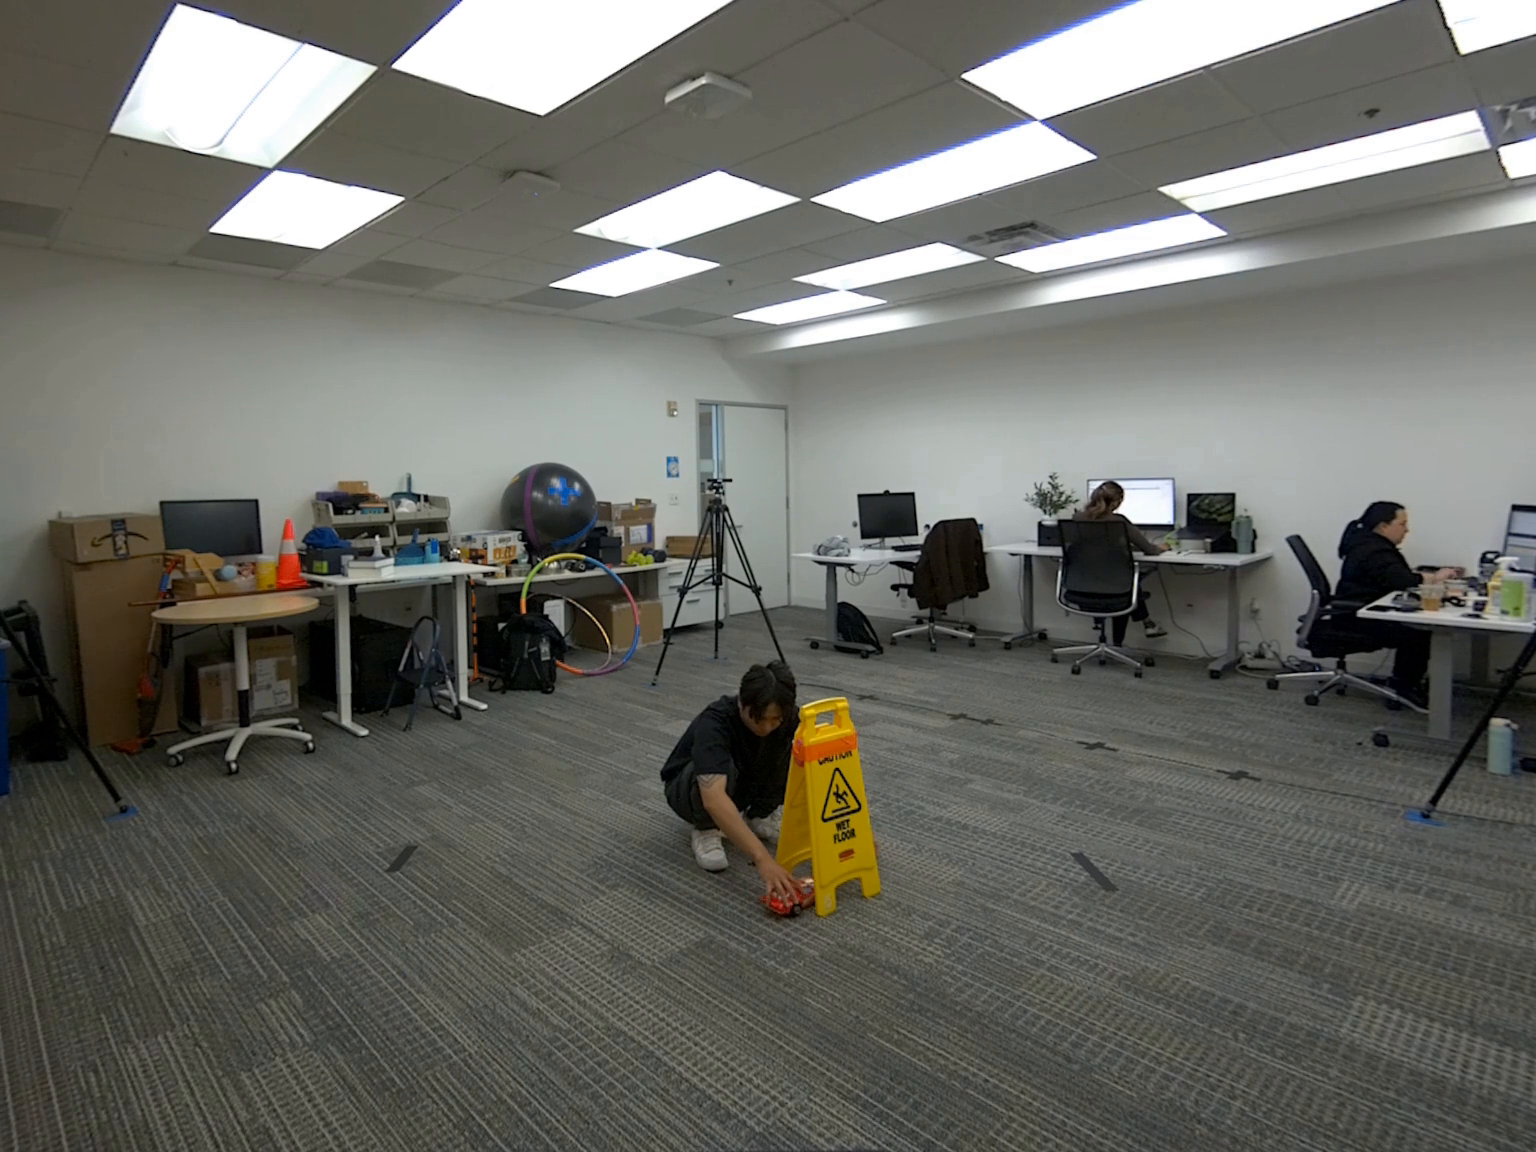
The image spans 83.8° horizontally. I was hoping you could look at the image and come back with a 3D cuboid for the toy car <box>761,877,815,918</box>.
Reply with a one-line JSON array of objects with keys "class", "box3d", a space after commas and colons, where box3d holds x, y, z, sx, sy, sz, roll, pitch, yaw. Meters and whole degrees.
[{"class": "toy car", "box3d": [0.094, 1.055, 2.802, 0.246, 0.083, 0.134, 6, -2, -41]}]
